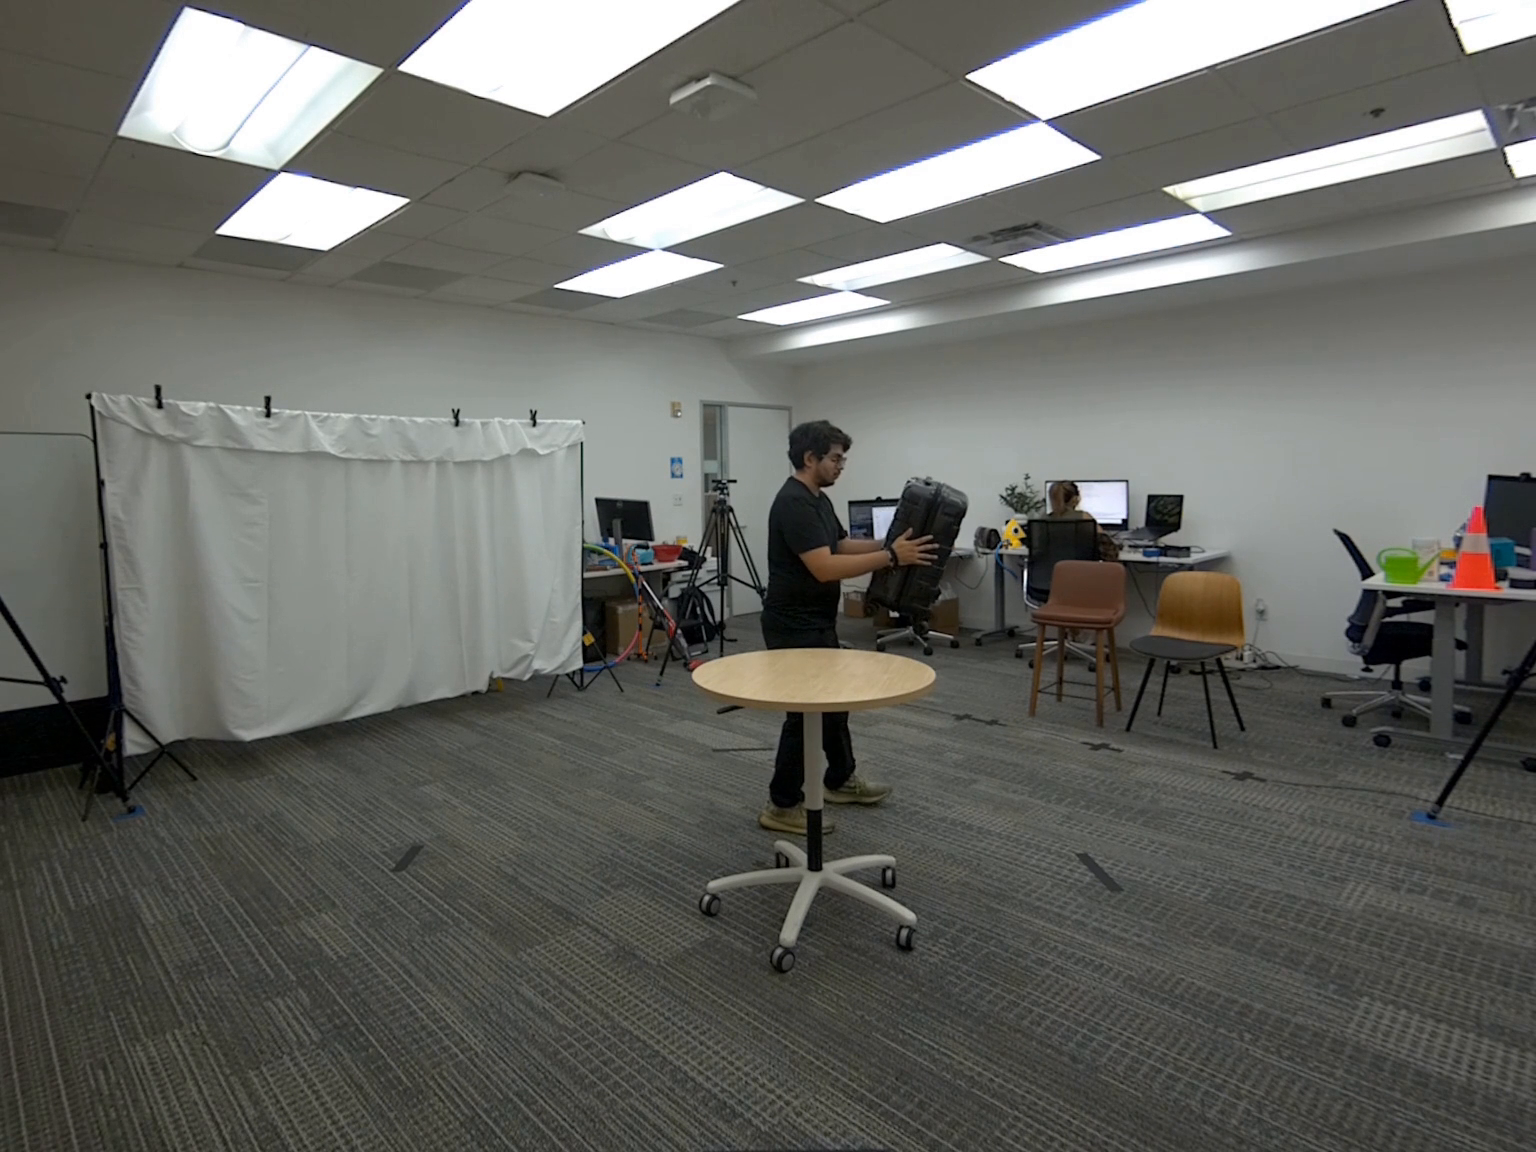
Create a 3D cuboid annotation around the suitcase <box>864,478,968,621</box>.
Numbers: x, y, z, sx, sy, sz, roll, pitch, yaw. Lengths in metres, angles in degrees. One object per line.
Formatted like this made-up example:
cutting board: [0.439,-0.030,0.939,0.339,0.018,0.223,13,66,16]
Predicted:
suitcase: [0.579,-0.104,3.306,0.252,0.545,0.372,20,12,11]
